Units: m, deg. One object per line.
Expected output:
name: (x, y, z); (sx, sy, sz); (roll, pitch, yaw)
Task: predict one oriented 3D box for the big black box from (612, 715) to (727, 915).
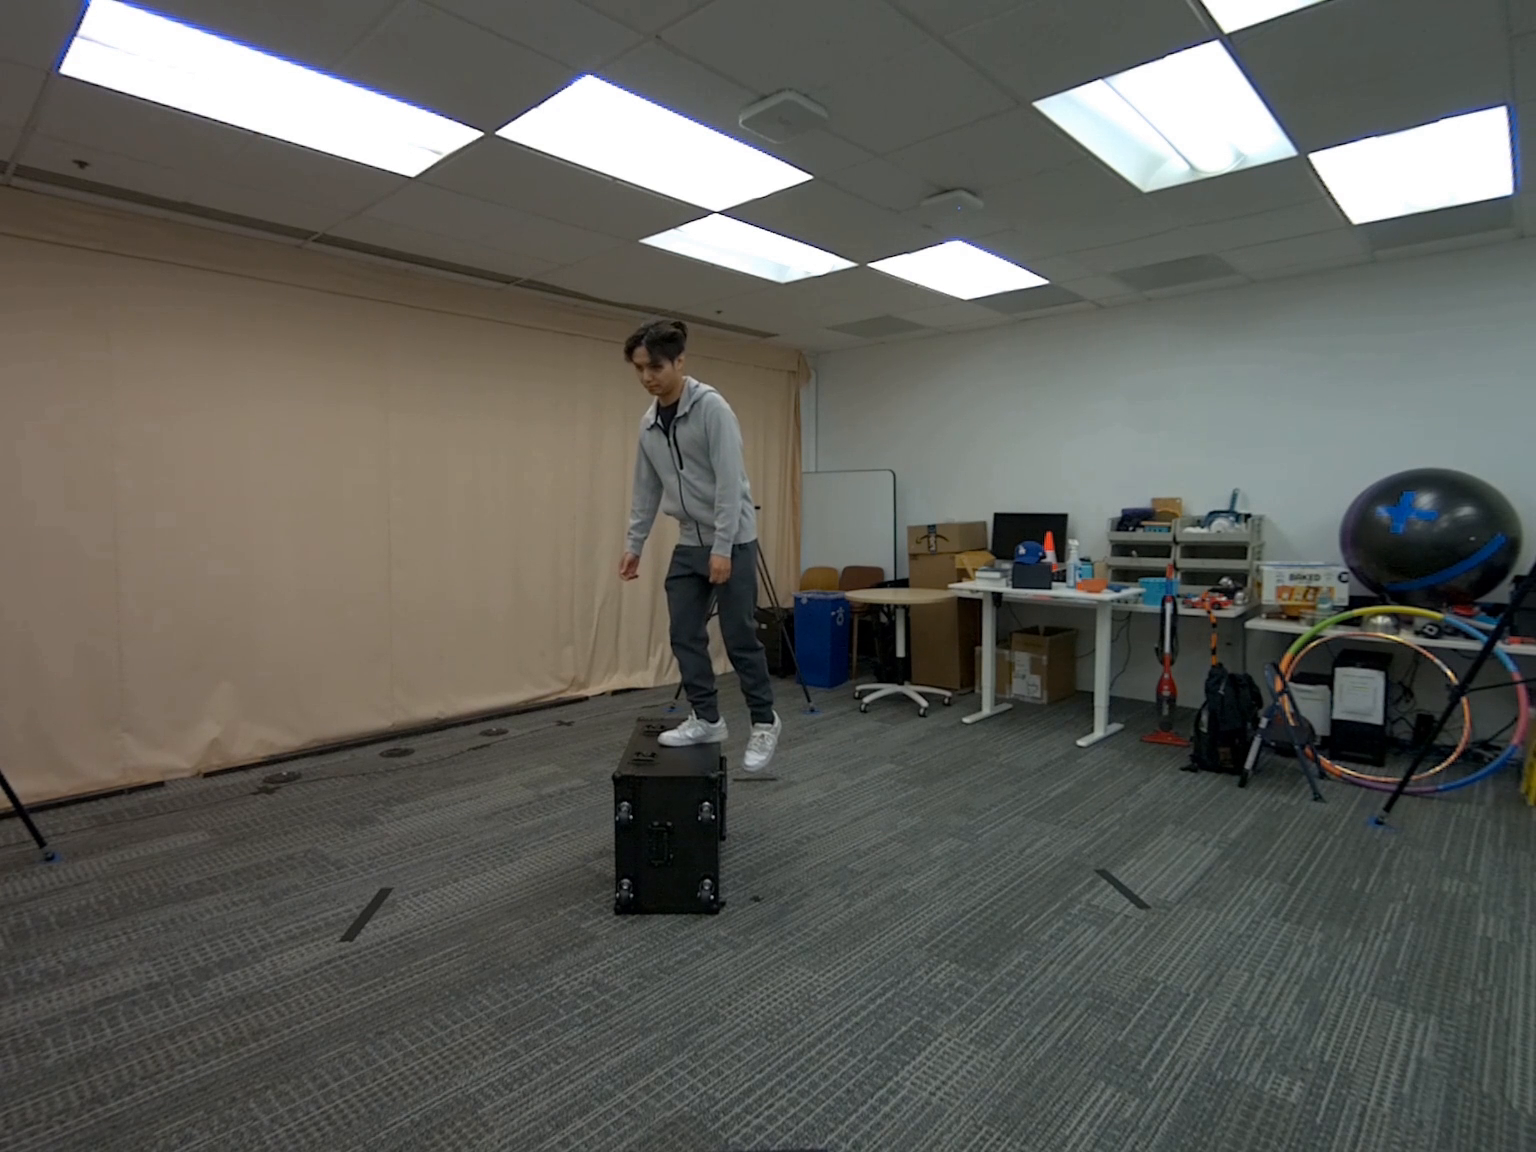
big black box: (-0.348, 0.885, 3.212); (0.396, 0.520, 0.863); (0, 4, -2)
